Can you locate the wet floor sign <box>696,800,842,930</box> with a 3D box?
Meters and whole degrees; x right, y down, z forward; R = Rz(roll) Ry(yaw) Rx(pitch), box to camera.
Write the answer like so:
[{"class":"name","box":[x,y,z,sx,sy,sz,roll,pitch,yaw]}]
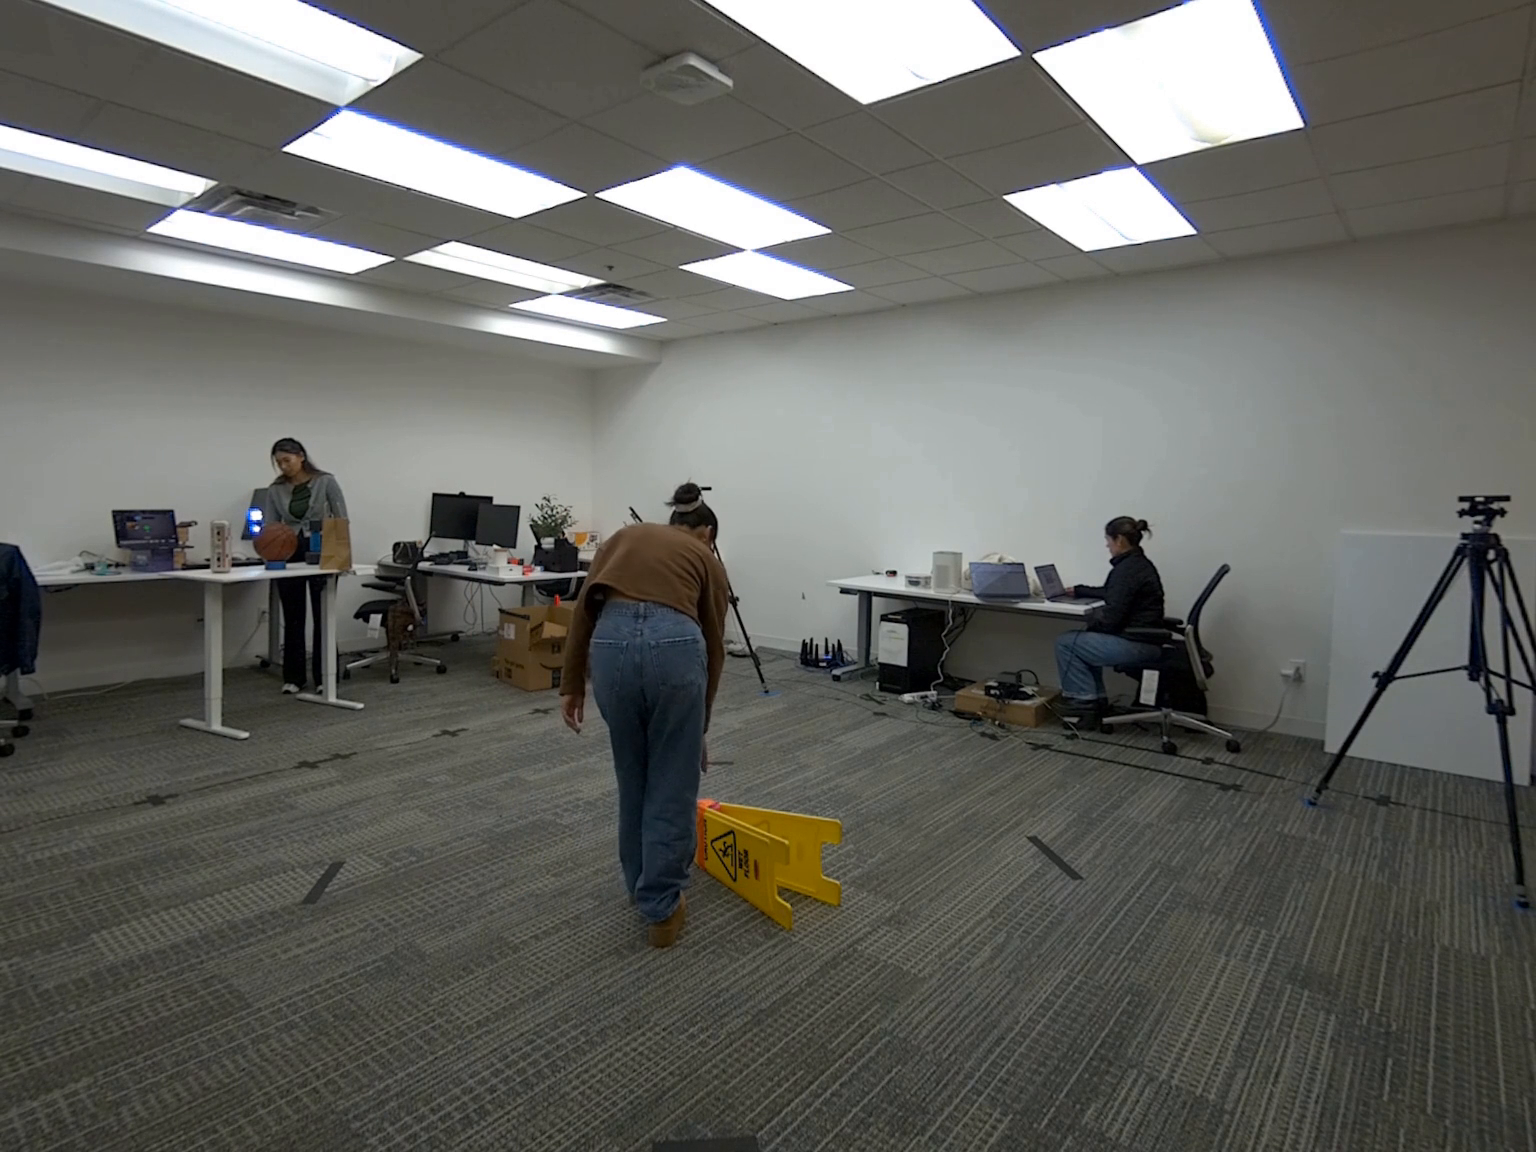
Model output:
[{"class":"wet floor sign","box":[-0.096,0.952,2.984,0.667,0.282,0.281,2,3,45]}]
